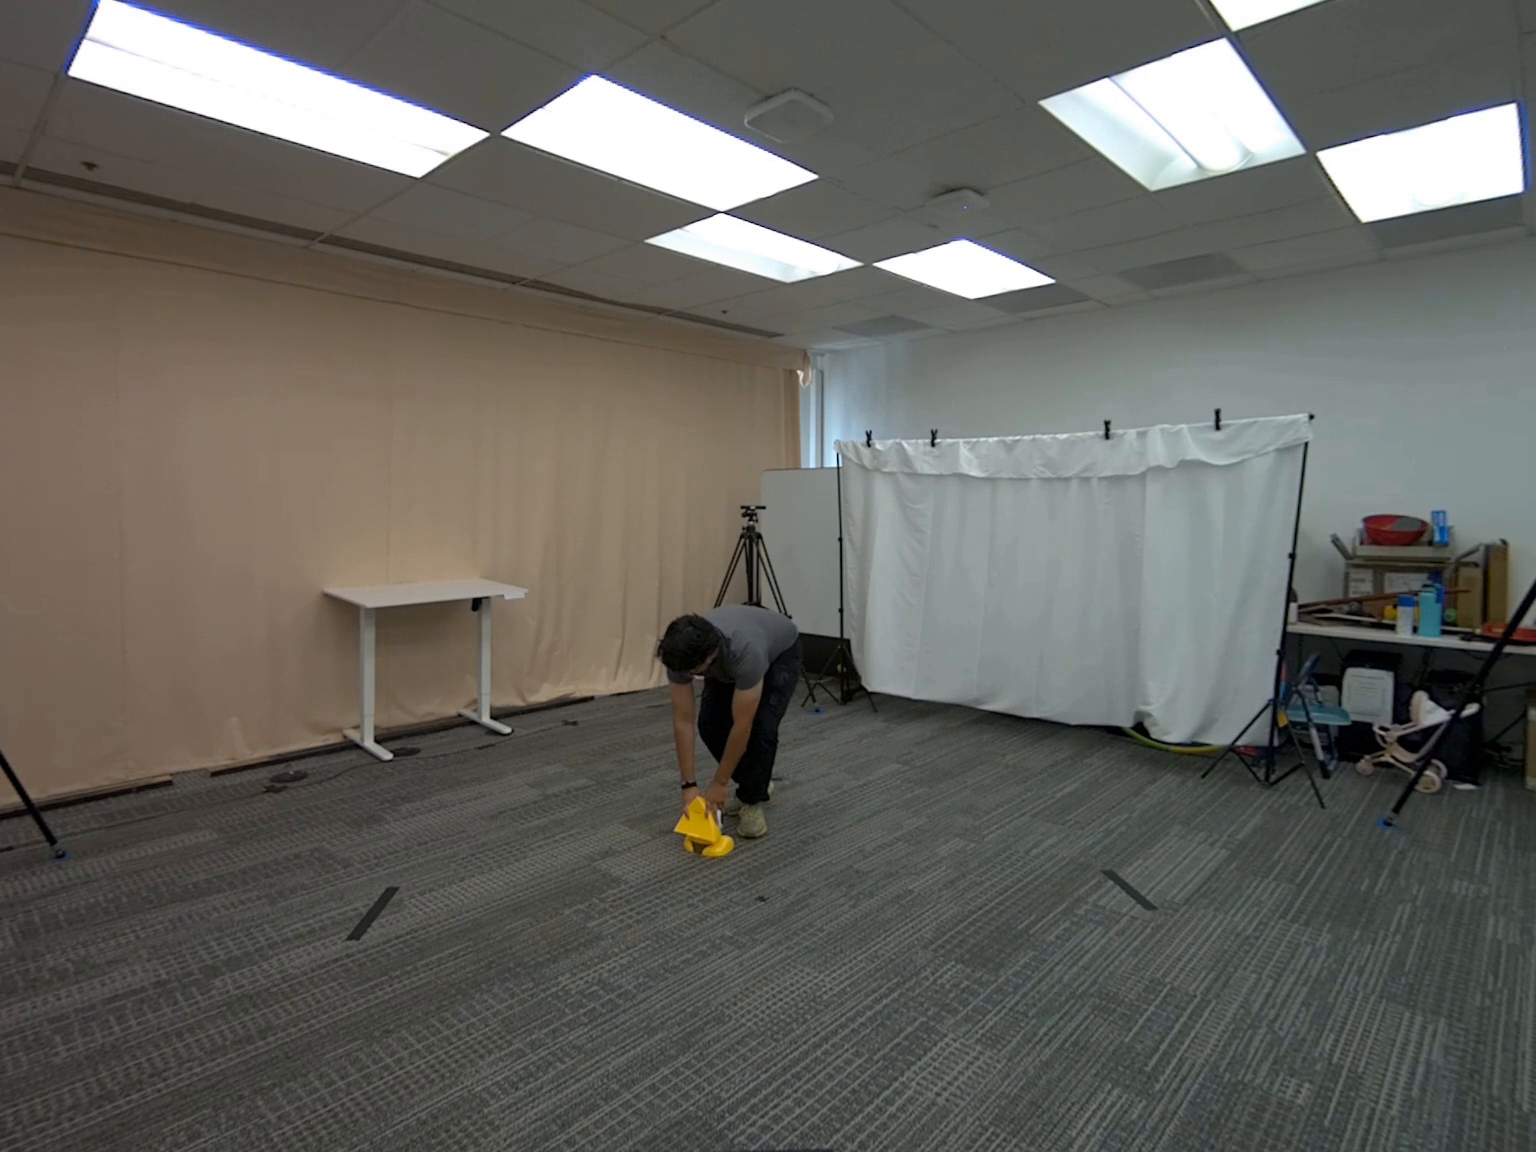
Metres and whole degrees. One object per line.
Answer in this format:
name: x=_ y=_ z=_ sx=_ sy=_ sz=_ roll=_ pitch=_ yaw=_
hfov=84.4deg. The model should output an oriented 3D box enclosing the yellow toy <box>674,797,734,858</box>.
yellow toy: x=-0.249 y=0.993 z=3.432 sx=0.211 sy=0.230 sz=0.187 roll=1 pitch=4 yaw=35
